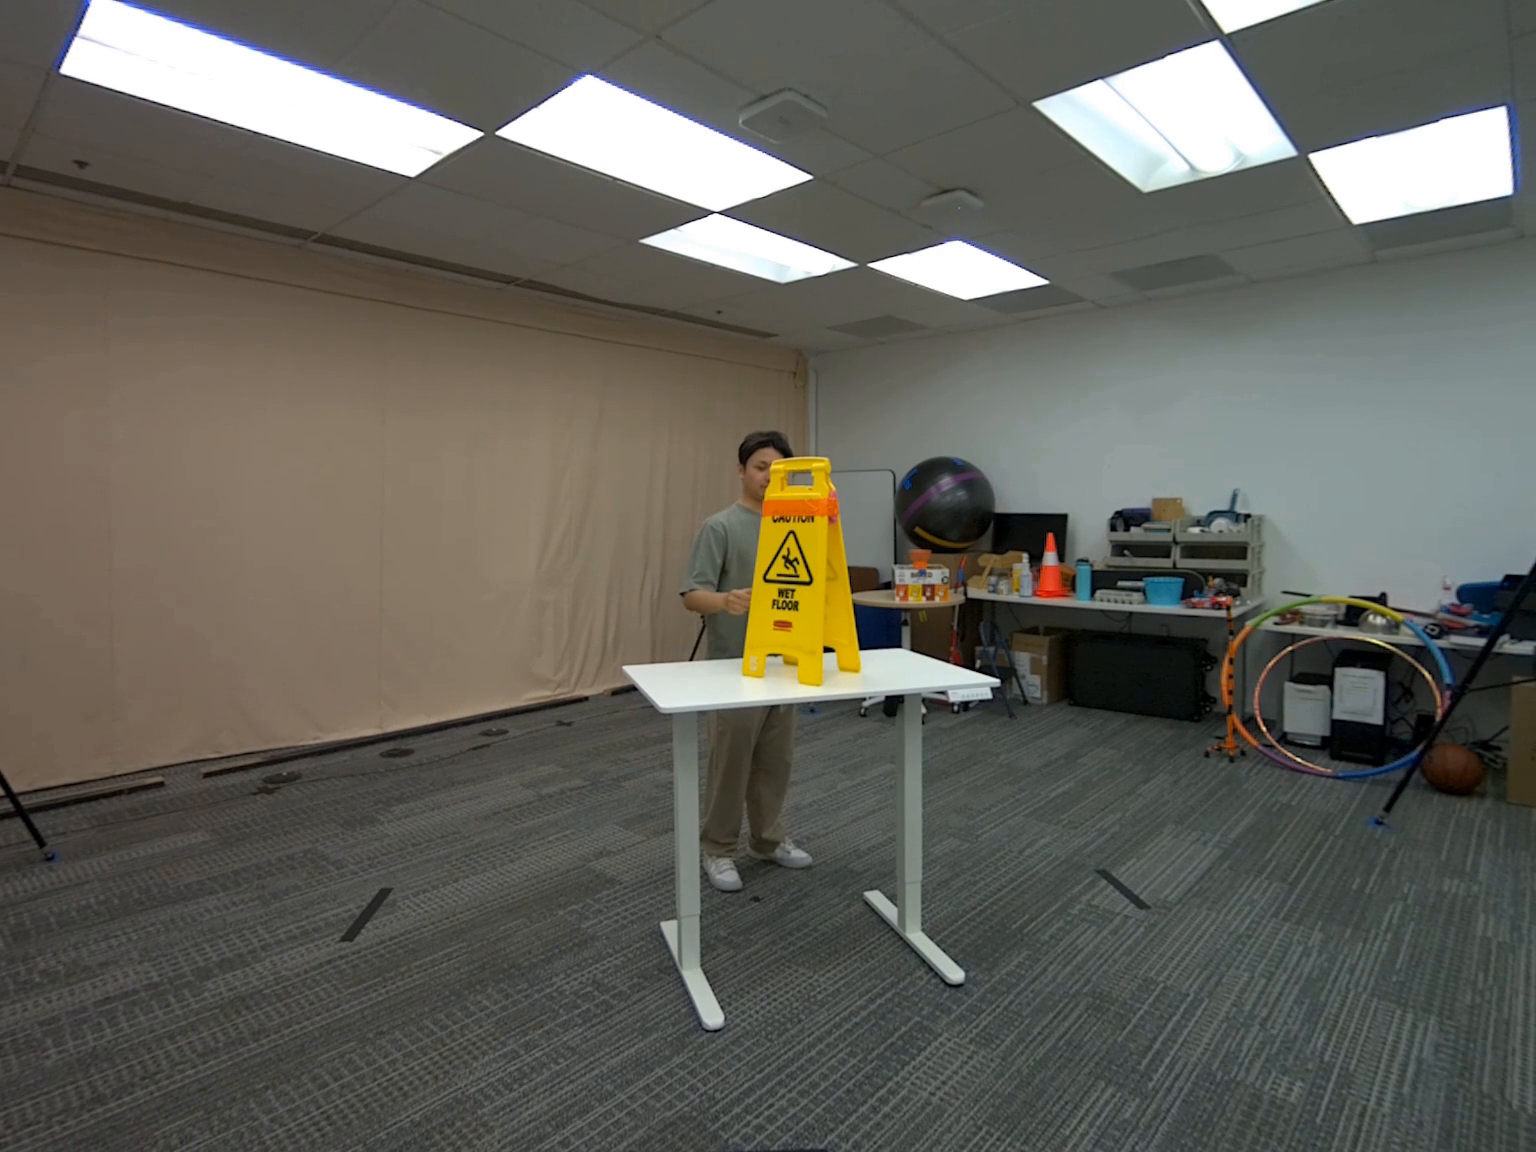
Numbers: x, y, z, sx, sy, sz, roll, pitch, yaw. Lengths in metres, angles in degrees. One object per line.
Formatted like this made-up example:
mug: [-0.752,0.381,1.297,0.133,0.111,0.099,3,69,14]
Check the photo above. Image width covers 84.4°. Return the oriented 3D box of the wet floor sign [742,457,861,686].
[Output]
wet floor sign: [0.102,-0.026,2.531,0.291,0.645,0.281,1,4,35]
